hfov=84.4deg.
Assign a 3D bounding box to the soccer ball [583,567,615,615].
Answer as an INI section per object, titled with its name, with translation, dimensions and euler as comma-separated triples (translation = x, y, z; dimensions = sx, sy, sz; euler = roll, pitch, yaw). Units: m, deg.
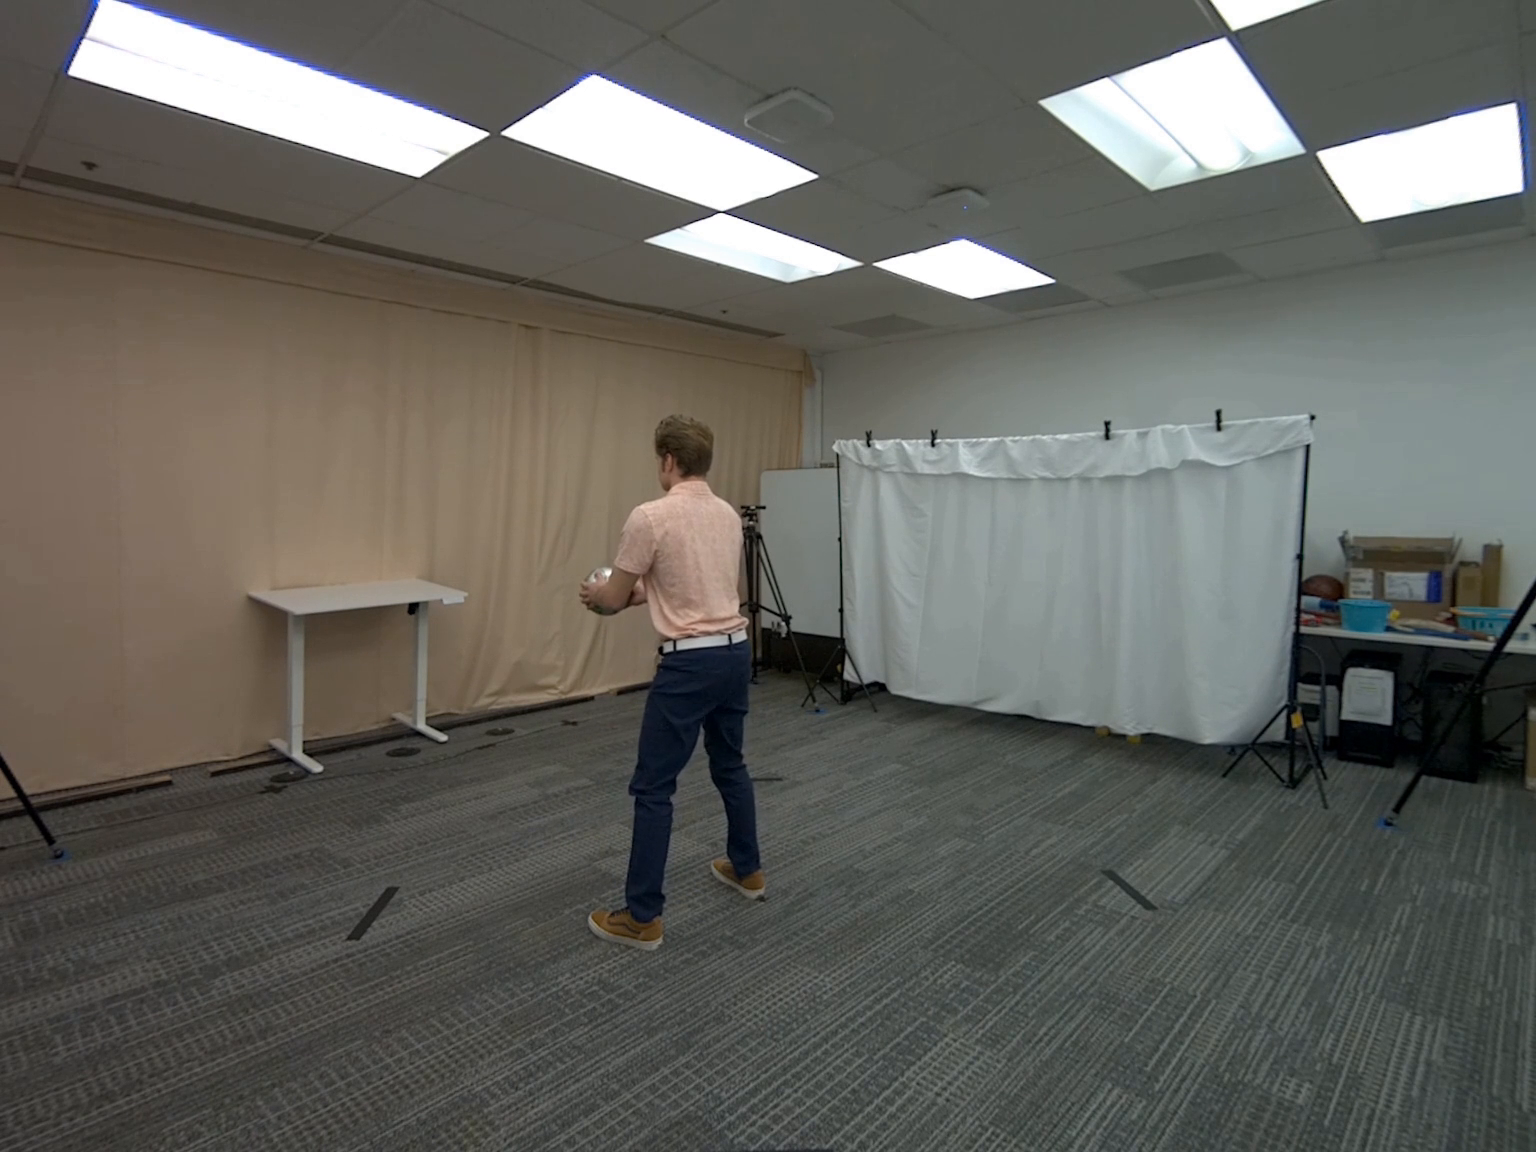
[soccer ball]
translation = -0.614, 0.073, 3.199
dimensions = 0.187, 0.187, 0.188
euler = 0, 4, -2
